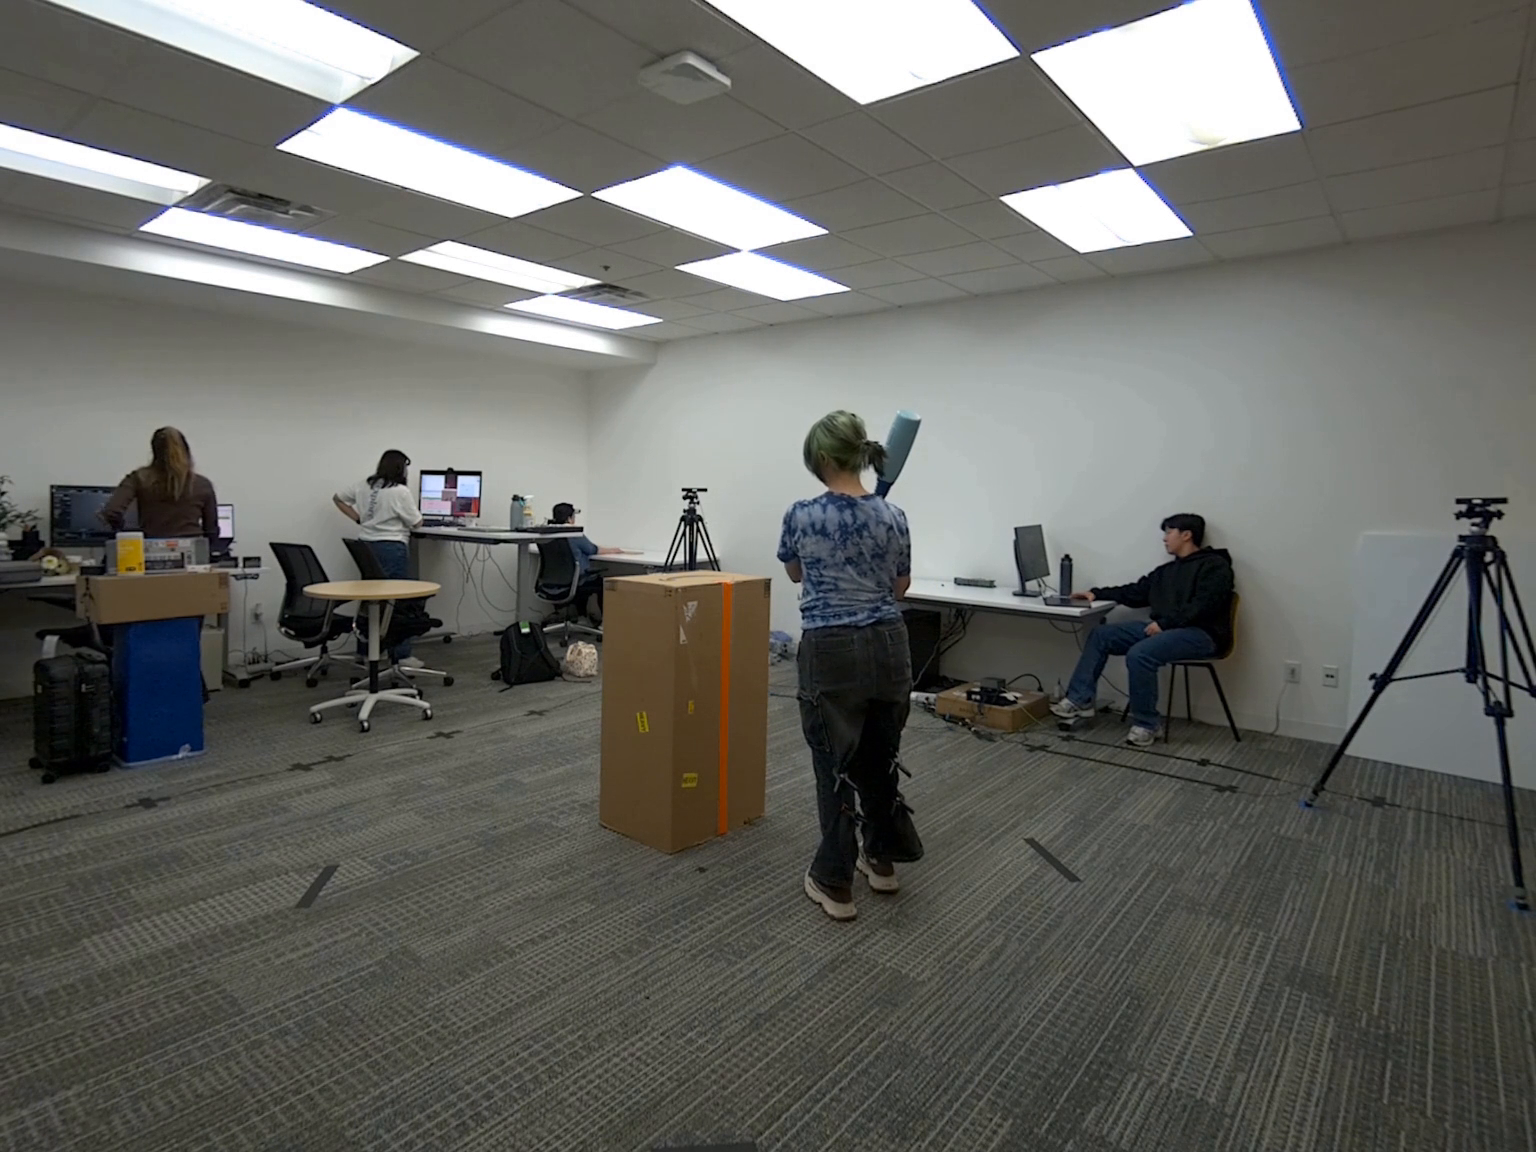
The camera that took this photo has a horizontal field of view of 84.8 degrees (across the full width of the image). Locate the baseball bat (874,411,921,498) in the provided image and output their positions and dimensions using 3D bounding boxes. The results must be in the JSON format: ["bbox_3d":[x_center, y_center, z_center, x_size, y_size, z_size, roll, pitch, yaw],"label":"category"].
[{"bbox_3d":[0.399,-0.331,2.986,0.088,0.534,0.091,13,28,-9],"label":"baseball bat"}]
